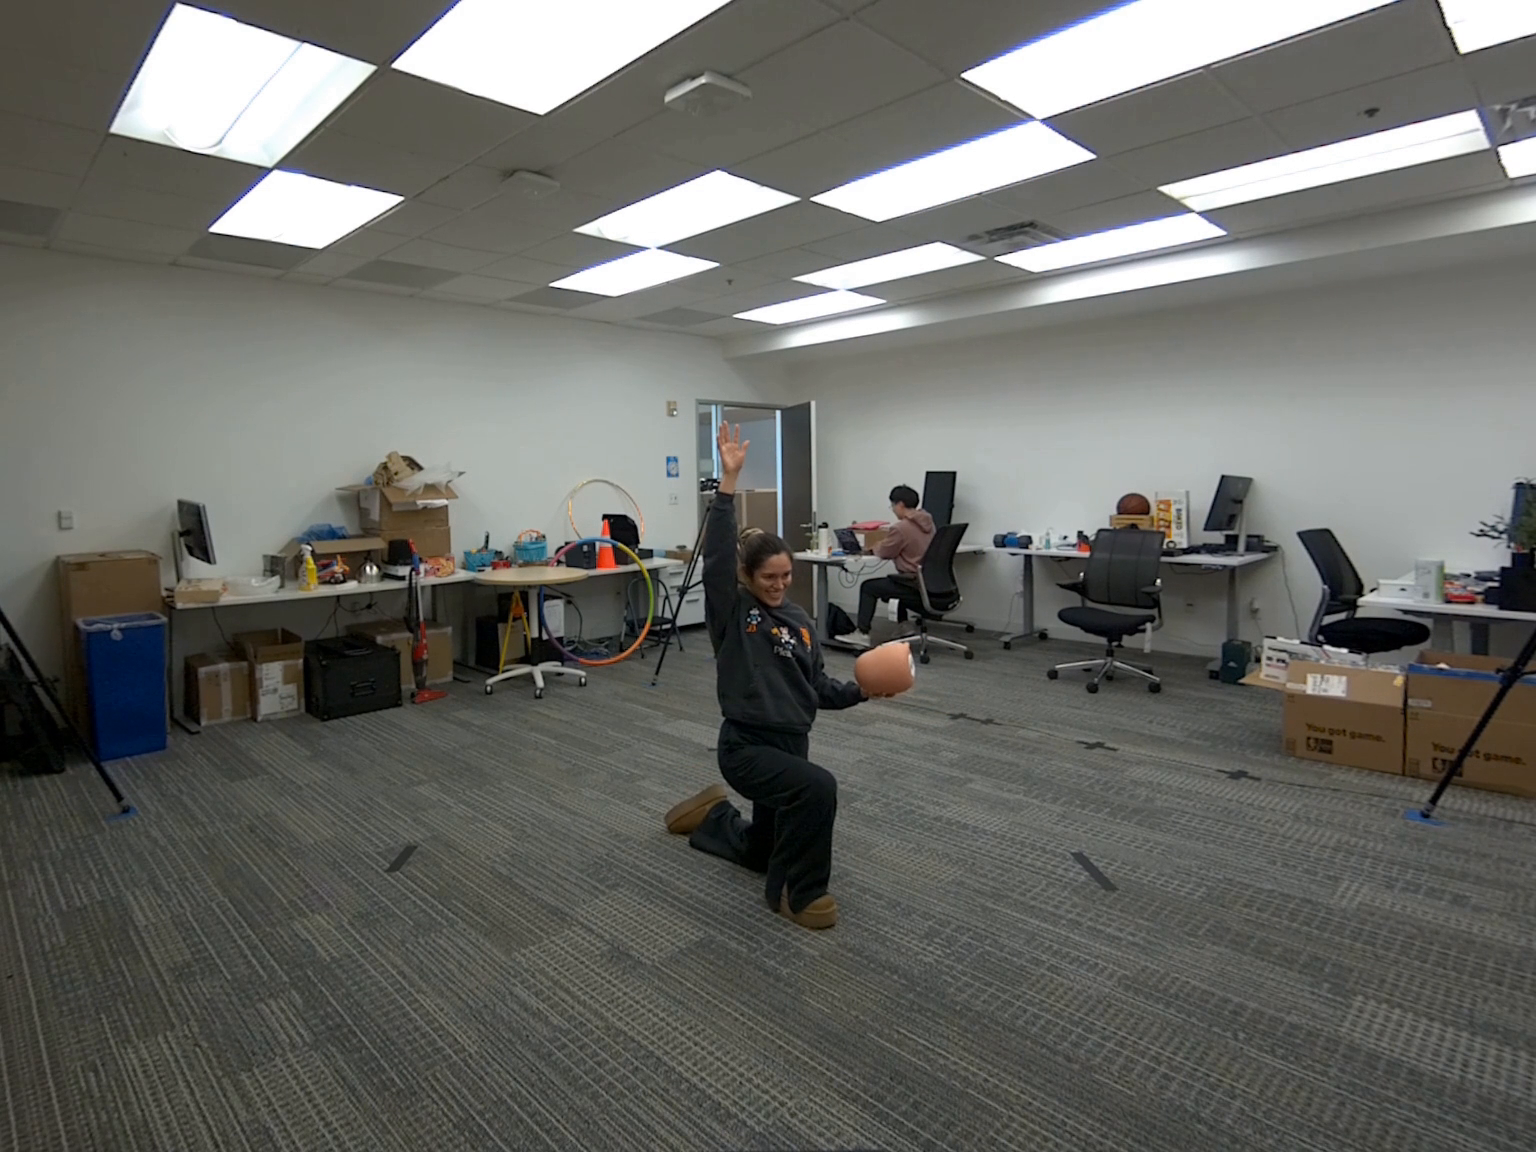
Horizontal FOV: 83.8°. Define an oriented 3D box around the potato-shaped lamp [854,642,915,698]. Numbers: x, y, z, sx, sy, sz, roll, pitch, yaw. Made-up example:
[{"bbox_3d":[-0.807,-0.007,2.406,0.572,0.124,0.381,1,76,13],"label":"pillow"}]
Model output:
[{"bbox_3d":[0.389,0.319,2.896,0.201,0.160,0.173,-7,29,21],"label":"potato-shaped lamp"}]
